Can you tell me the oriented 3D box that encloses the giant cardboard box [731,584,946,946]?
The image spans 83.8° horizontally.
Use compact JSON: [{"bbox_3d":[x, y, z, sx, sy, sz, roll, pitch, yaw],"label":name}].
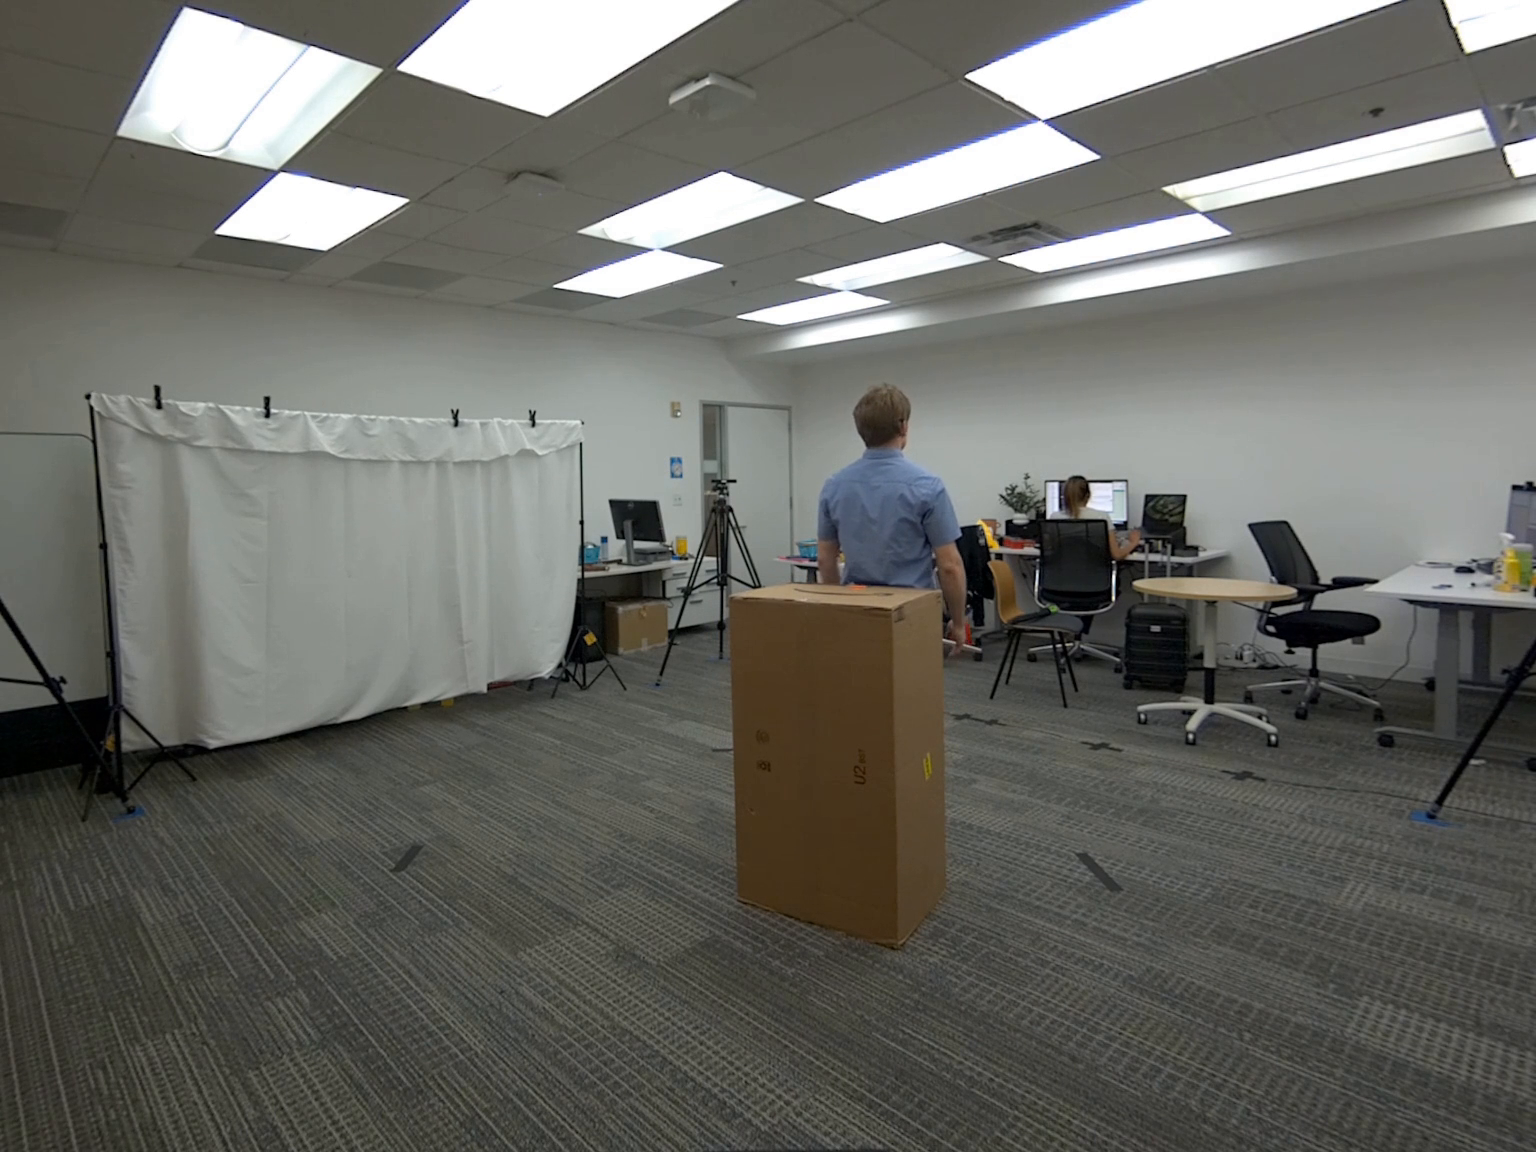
[{"bbox_3d":[0.236,0.568,2.823,0.599,1.023,0.437,1,5,32],"label":"giant cardboard box"}]
